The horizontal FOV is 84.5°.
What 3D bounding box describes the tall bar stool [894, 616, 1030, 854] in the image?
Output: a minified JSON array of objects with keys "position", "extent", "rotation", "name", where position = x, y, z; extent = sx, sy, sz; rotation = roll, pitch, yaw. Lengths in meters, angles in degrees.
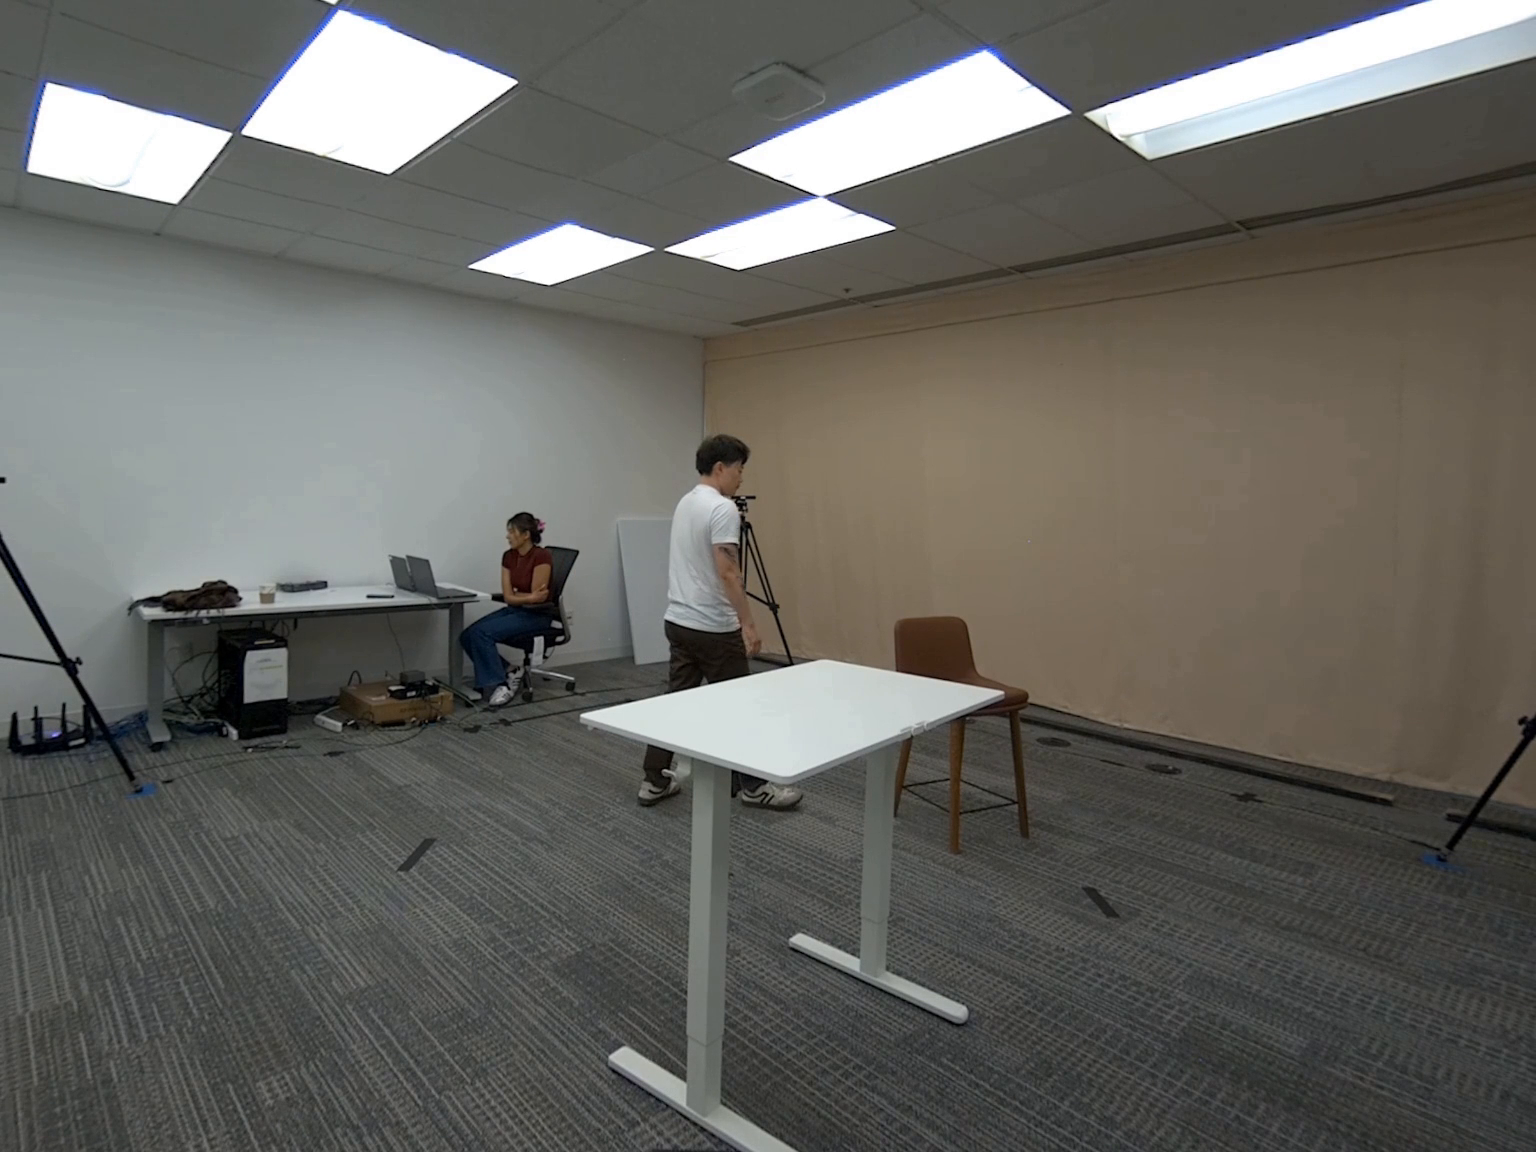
[{"position":[0.810,0.644,3.611],"extent":[0.448,0.889,0.477],"rotation":[0,1,-27],"name":"tall bar stool"}]
